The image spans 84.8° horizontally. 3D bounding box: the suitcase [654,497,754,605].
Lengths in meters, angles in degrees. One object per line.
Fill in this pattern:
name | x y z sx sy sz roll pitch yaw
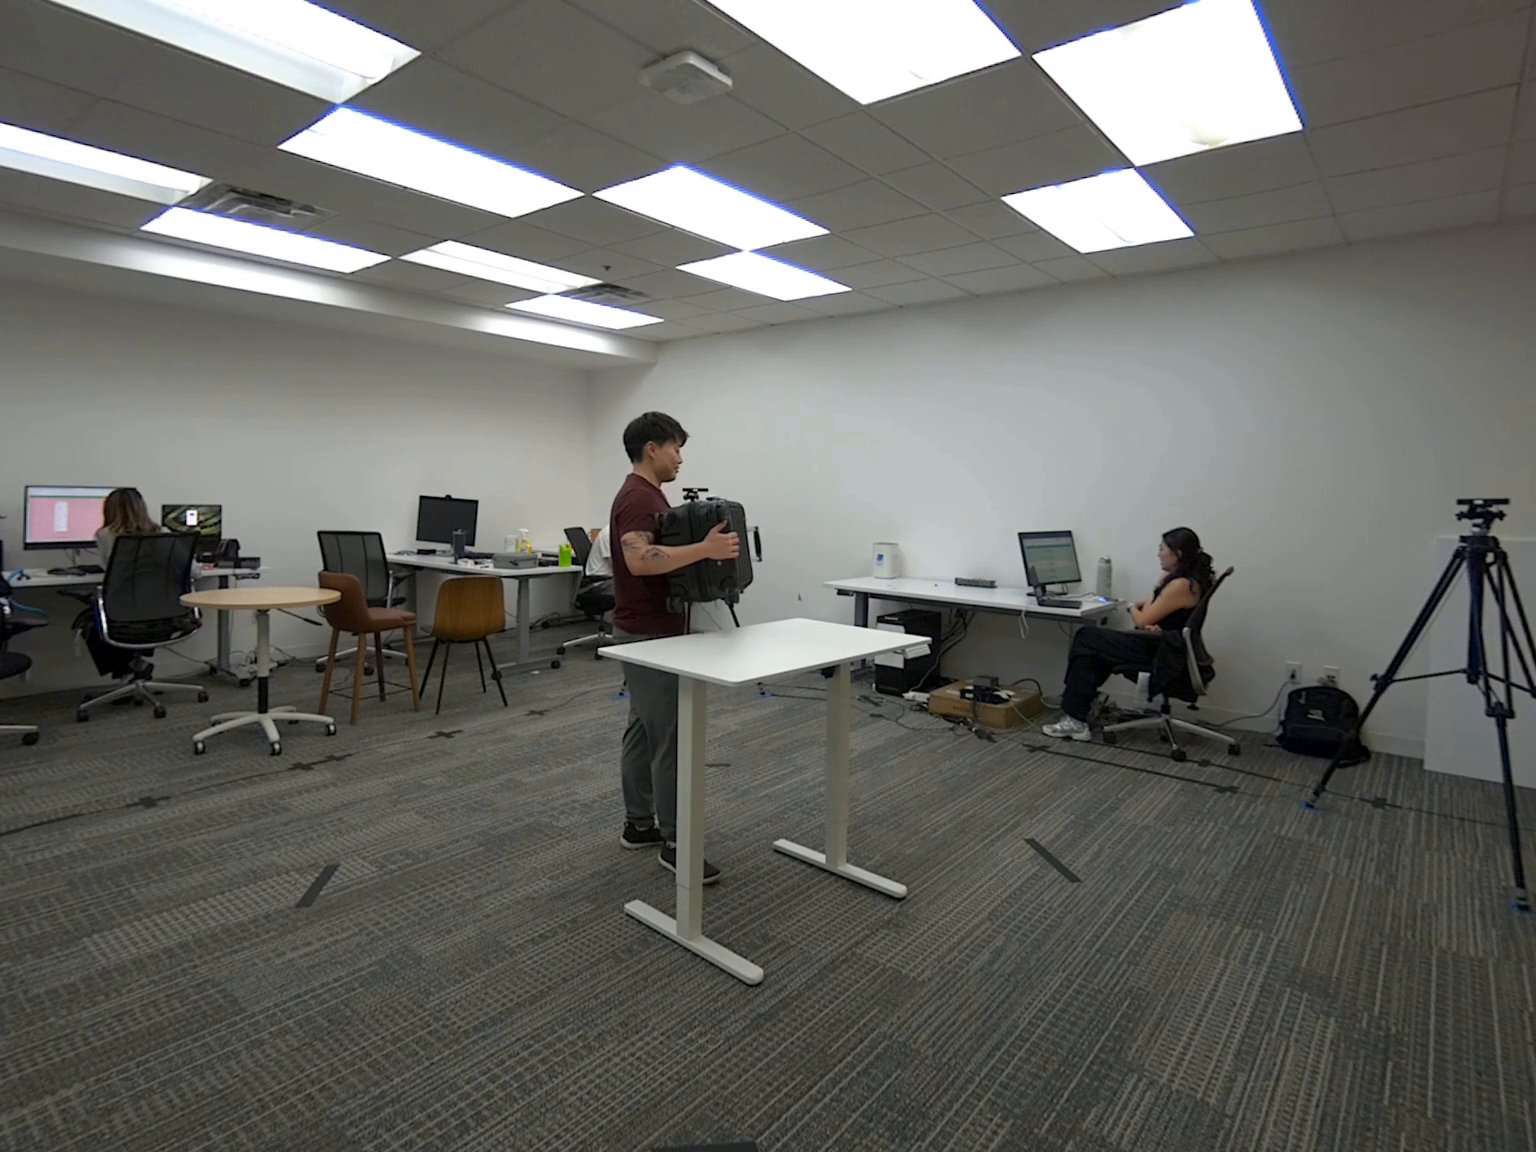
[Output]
suitcase | -0.201 -0.112 3.358 0.259 0.384 0.972 -8 2 6
